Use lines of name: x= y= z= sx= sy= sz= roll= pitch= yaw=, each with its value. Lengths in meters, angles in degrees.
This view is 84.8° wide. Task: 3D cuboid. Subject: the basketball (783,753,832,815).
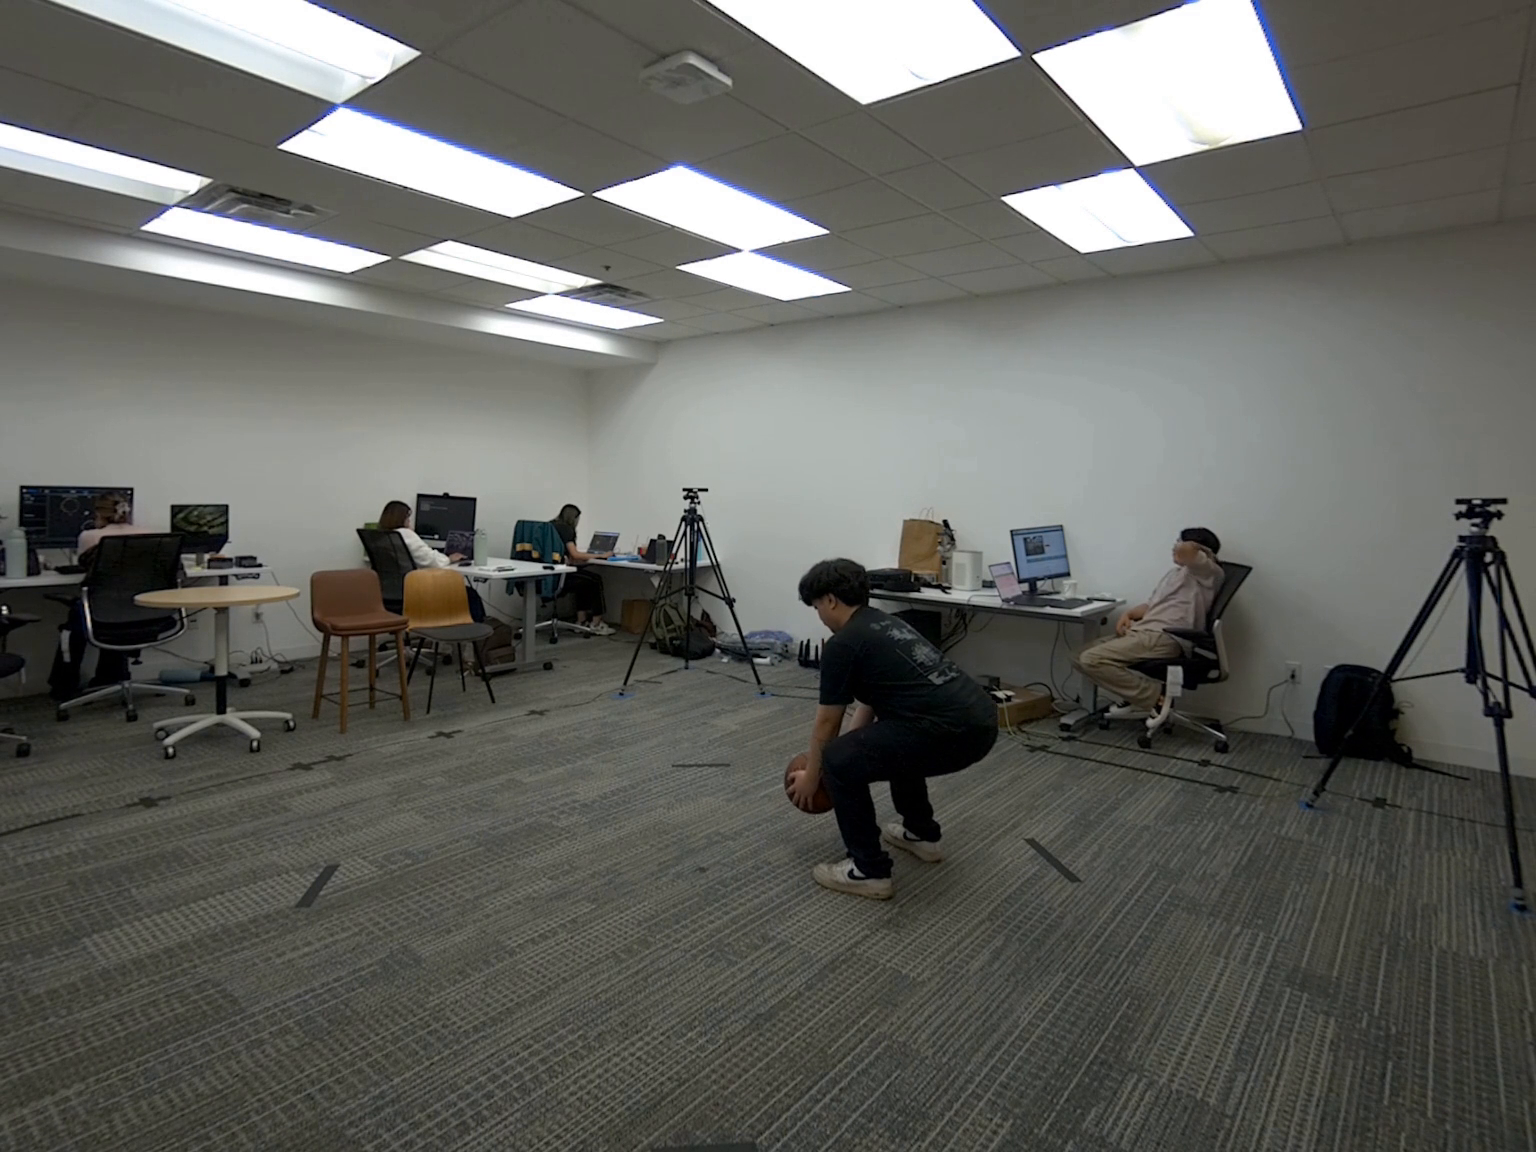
basketball: x=0.178 y=0.805 z=3.357 sx=0.235 sy=0.235 sz=0.237 roll=1 pitch=4 yaw=-2
